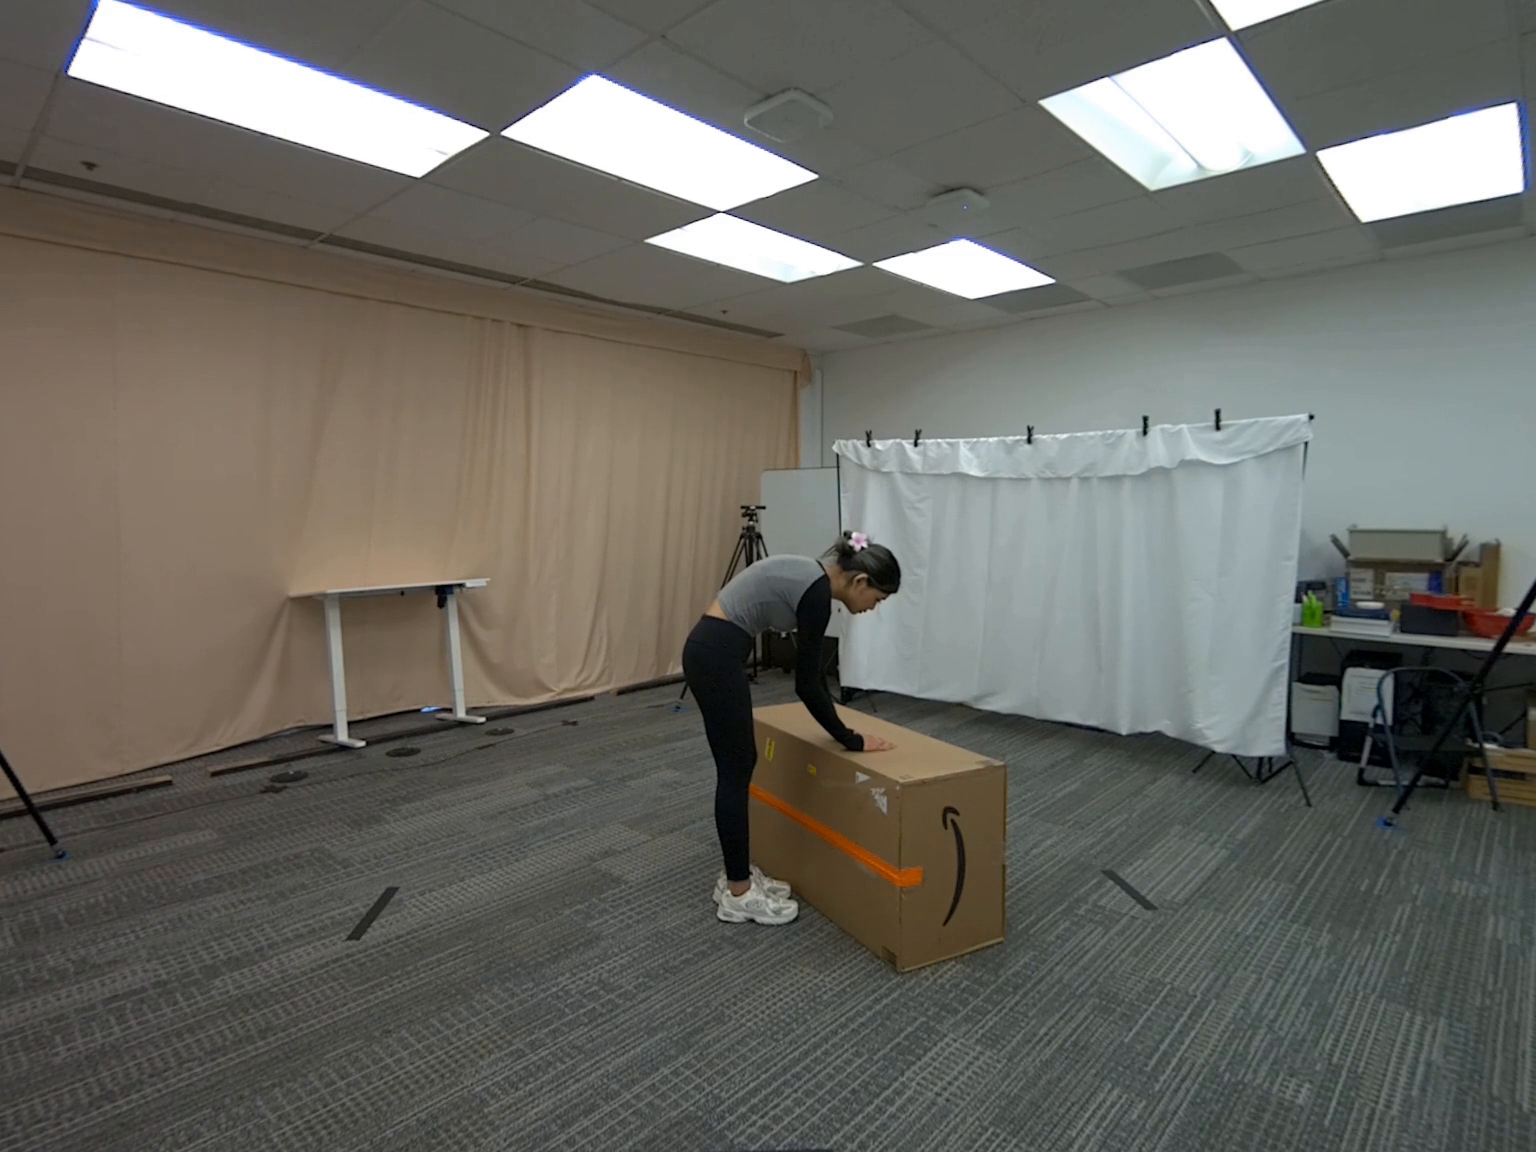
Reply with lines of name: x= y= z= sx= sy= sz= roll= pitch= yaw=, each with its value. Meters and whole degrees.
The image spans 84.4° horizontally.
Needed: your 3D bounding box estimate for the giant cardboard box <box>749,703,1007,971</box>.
giant cardboard box: x=0.320 y=0.850 z=3.032 sx=0.415 sy=0.576 sz=1.055 roll=-2 pitch=4 yaw=-29
